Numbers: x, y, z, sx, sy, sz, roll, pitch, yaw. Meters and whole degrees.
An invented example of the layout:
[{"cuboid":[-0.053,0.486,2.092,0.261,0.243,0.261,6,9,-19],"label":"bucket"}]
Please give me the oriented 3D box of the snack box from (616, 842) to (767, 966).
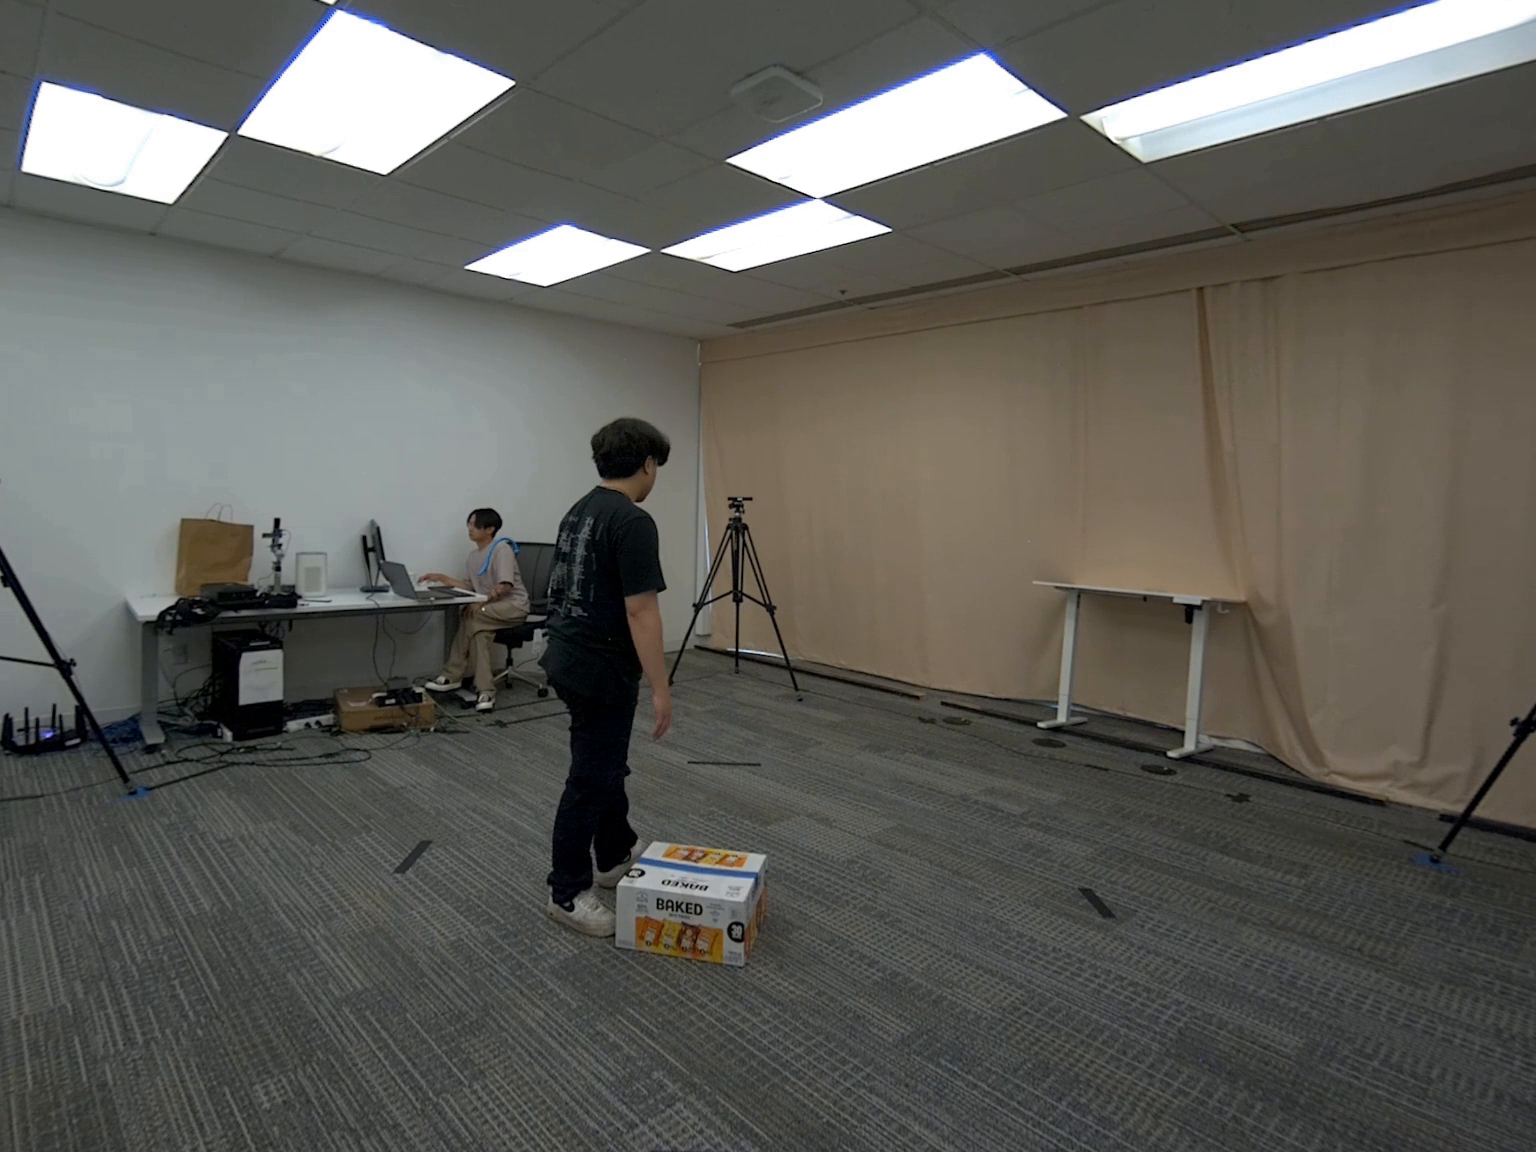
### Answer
[{"cuboid":[-0.240,1.040,2.693,0.409,0.205,0.337,3,4,12],"label":"snack box"}]
